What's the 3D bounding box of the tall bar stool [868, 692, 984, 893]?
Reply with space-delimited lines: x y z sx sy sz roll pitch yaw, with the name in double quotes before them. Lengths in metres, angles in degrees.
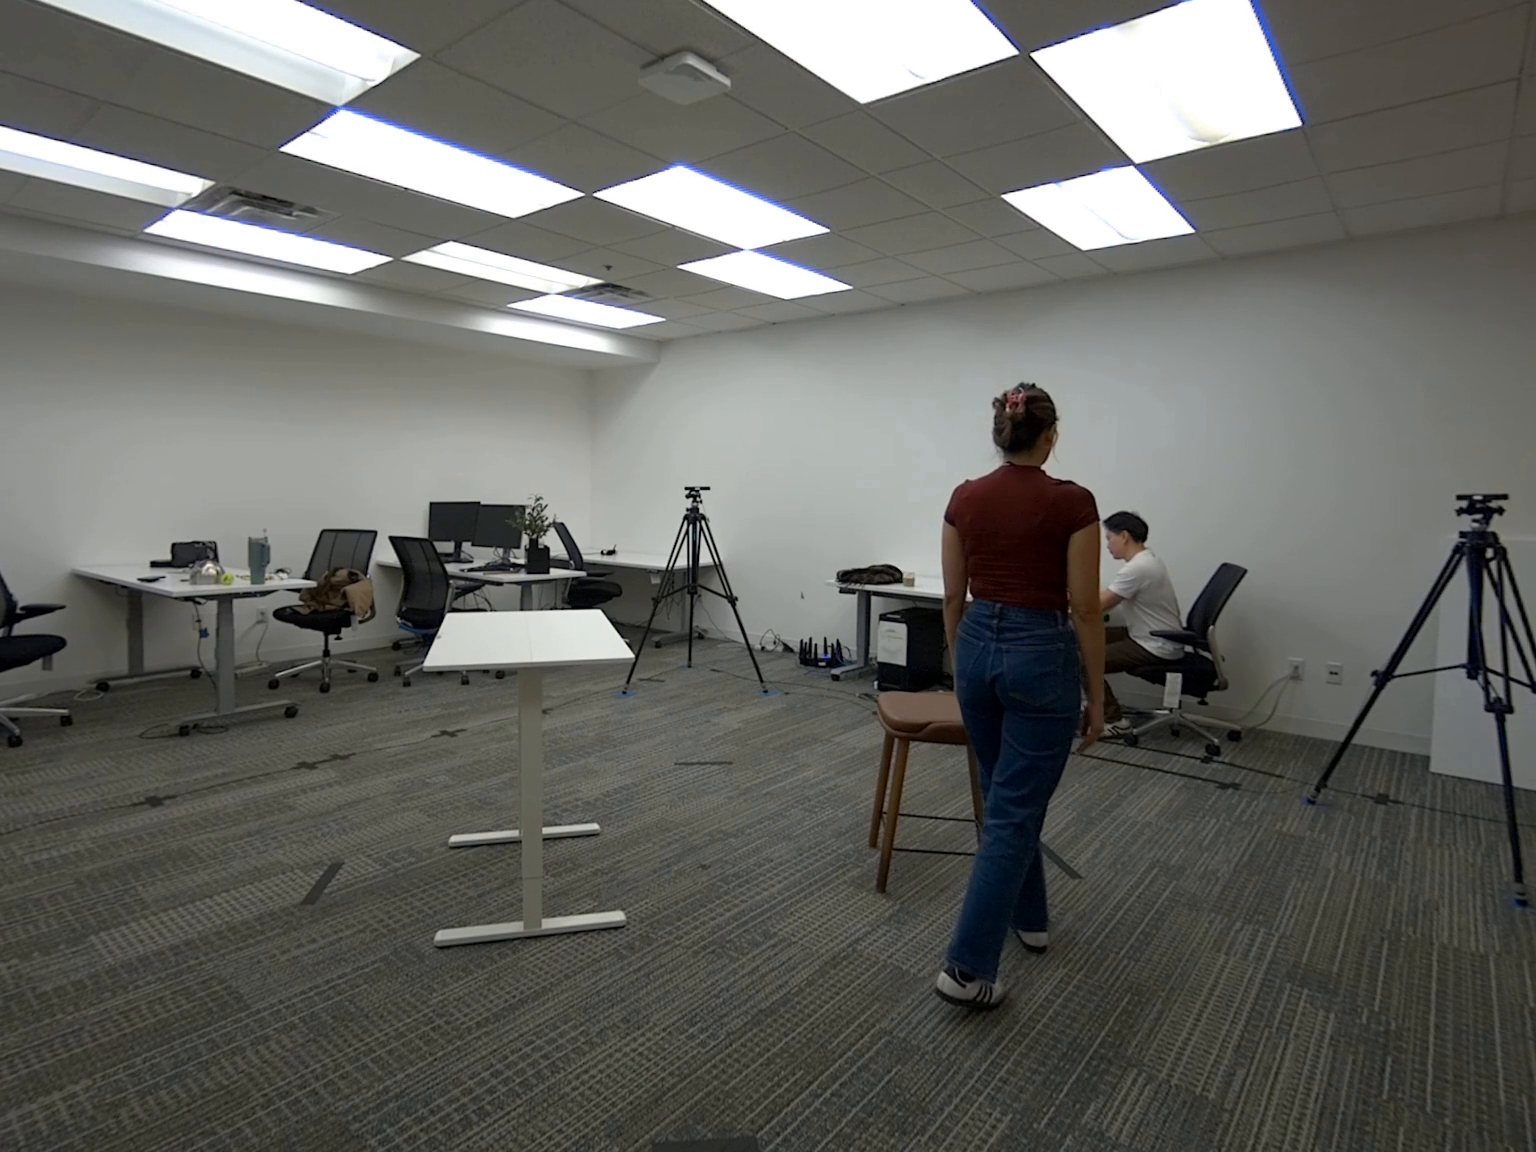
"tall bar stool" 0.621 0.653 3.099 0.470 0.887 0.455 3 4 4
